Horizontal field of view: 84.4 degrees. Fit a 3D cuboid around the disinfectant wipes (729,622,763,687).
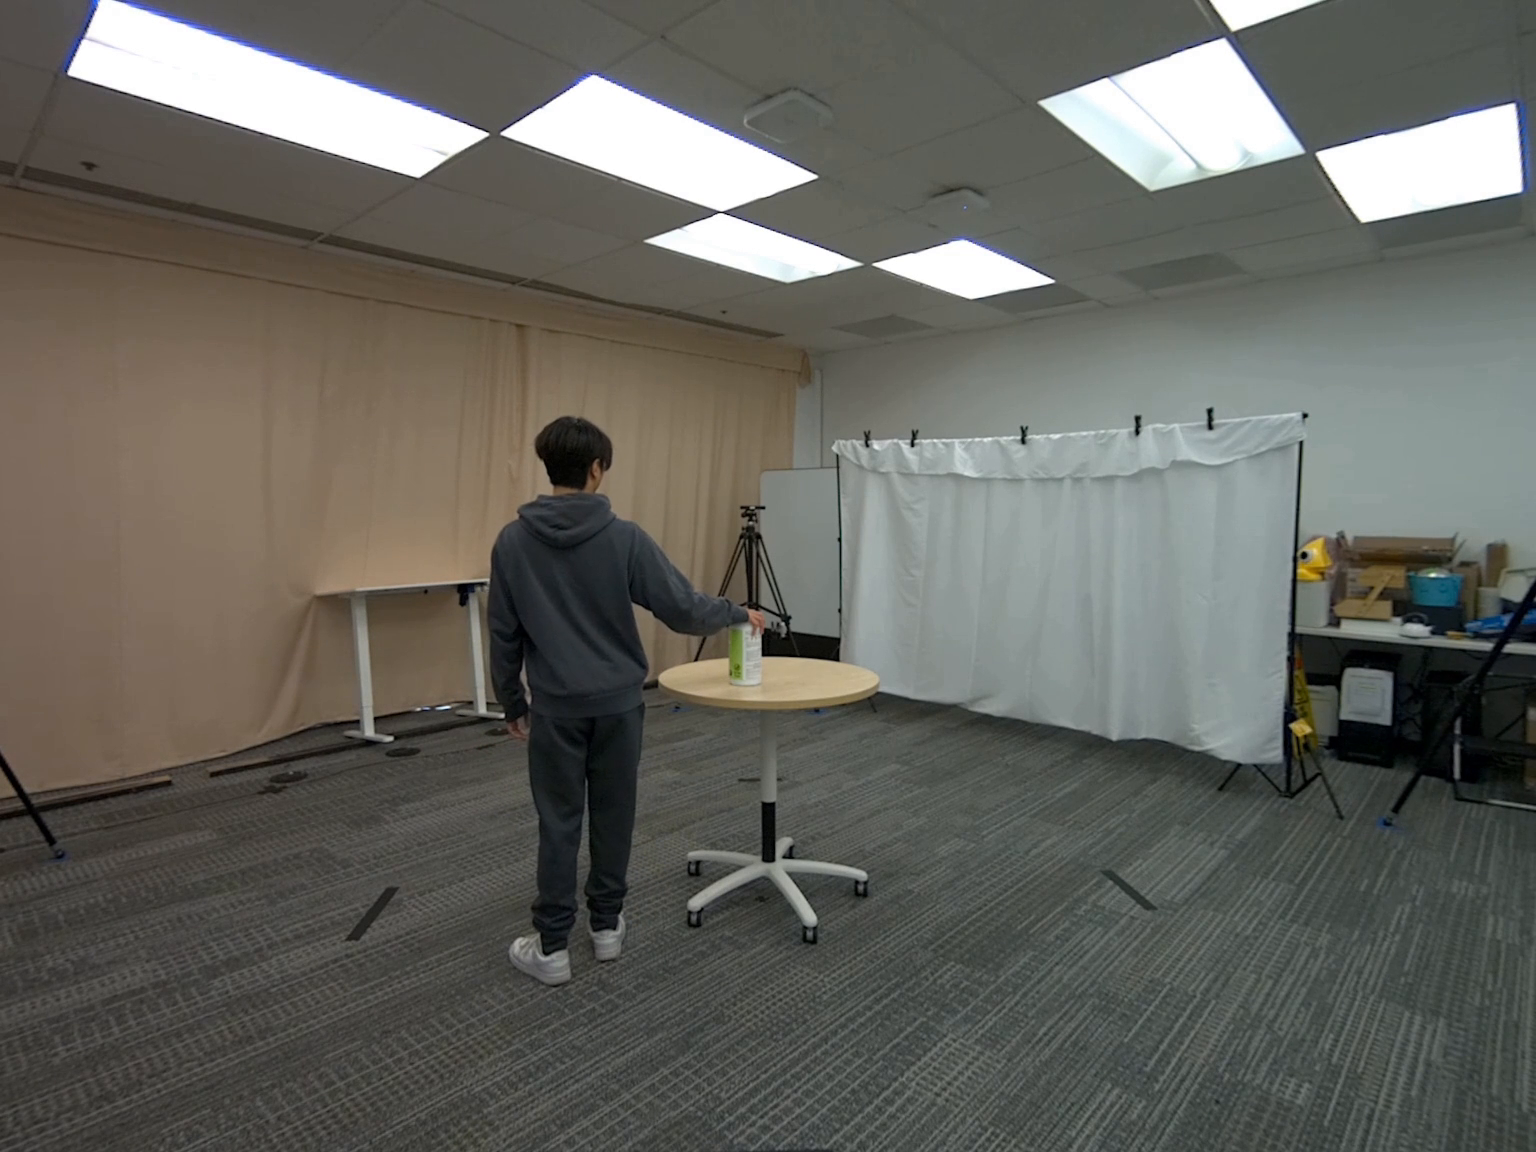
[{"bbox_3d":[-0.067,0.255,2.826,0.118,0.217,0.118,-2,5,-2],"label":"disinfectant wipes"}]
